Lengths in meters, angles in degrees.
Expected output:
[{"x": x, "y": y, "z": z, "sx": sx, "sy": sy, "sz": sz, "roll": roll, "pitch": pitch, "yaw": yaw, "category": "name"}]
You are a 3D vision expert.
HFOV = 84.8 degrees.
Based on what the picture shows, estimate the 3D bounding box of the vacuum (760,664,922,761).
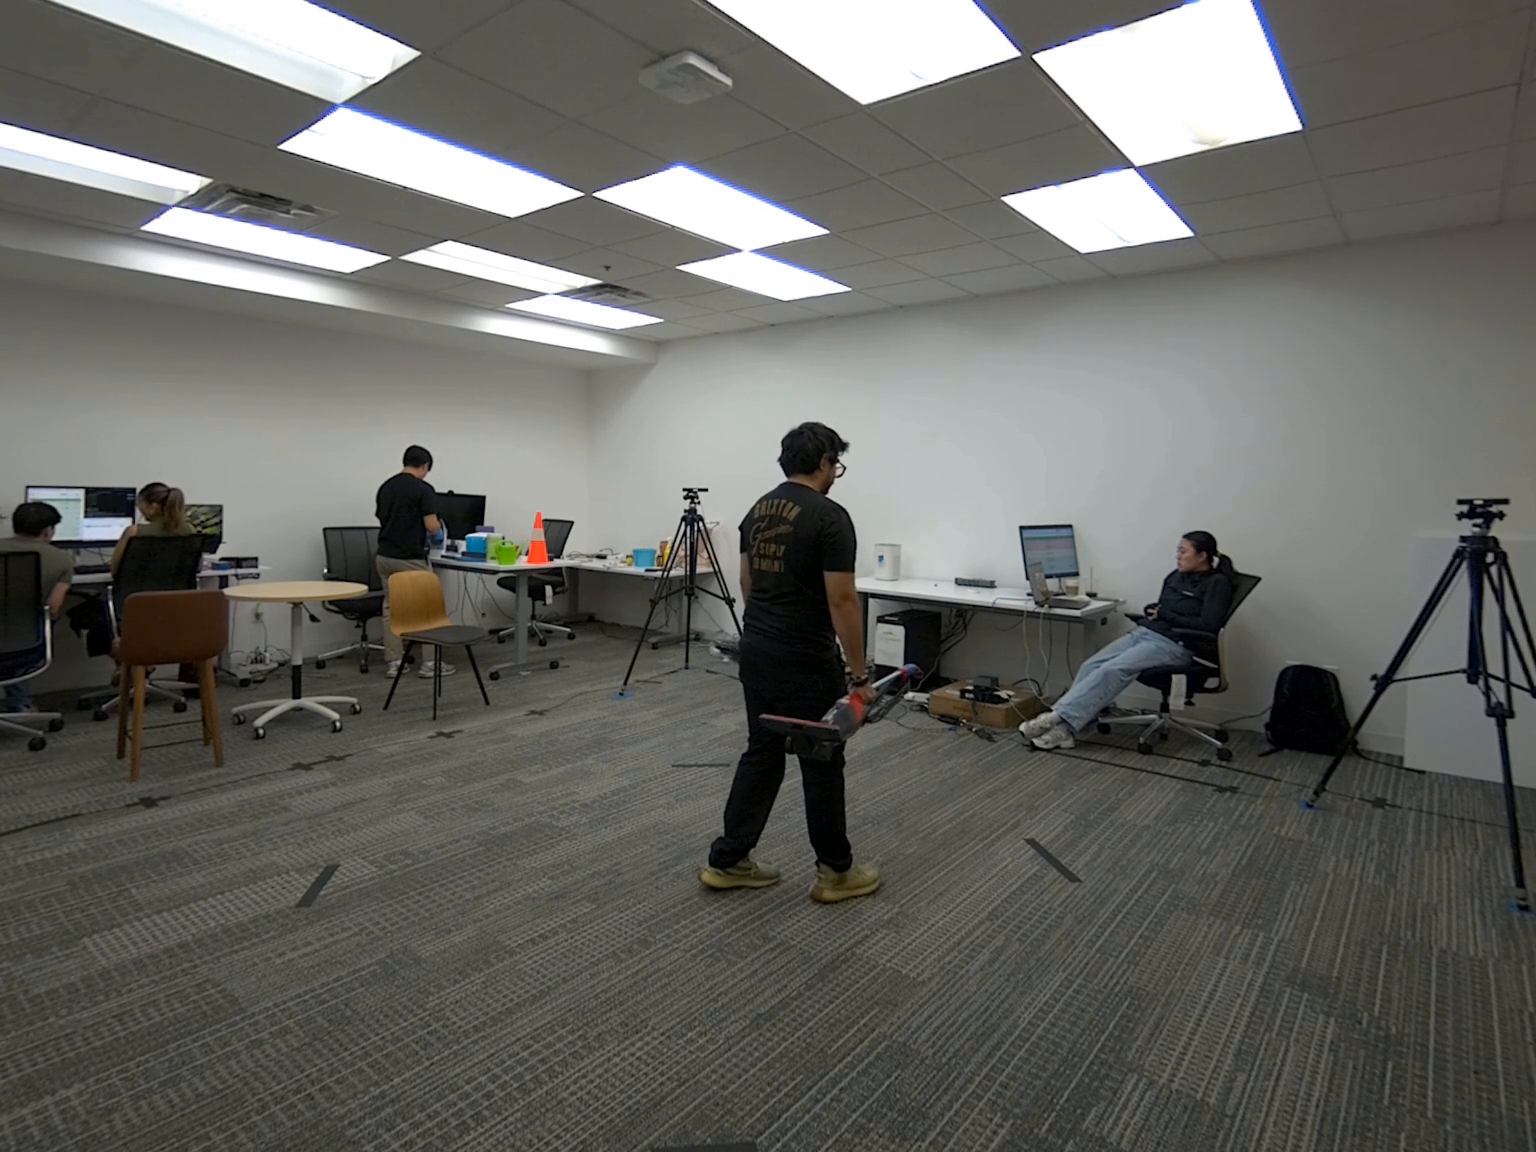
[{"x": 0.358, "y": 0.429, "z": 2.894, "sx": 0.260, "sy": 0.143, "sz": 1.022, "roll": 6, "pitch": 6, "yaw": 28, "category": "vacuum"}]
